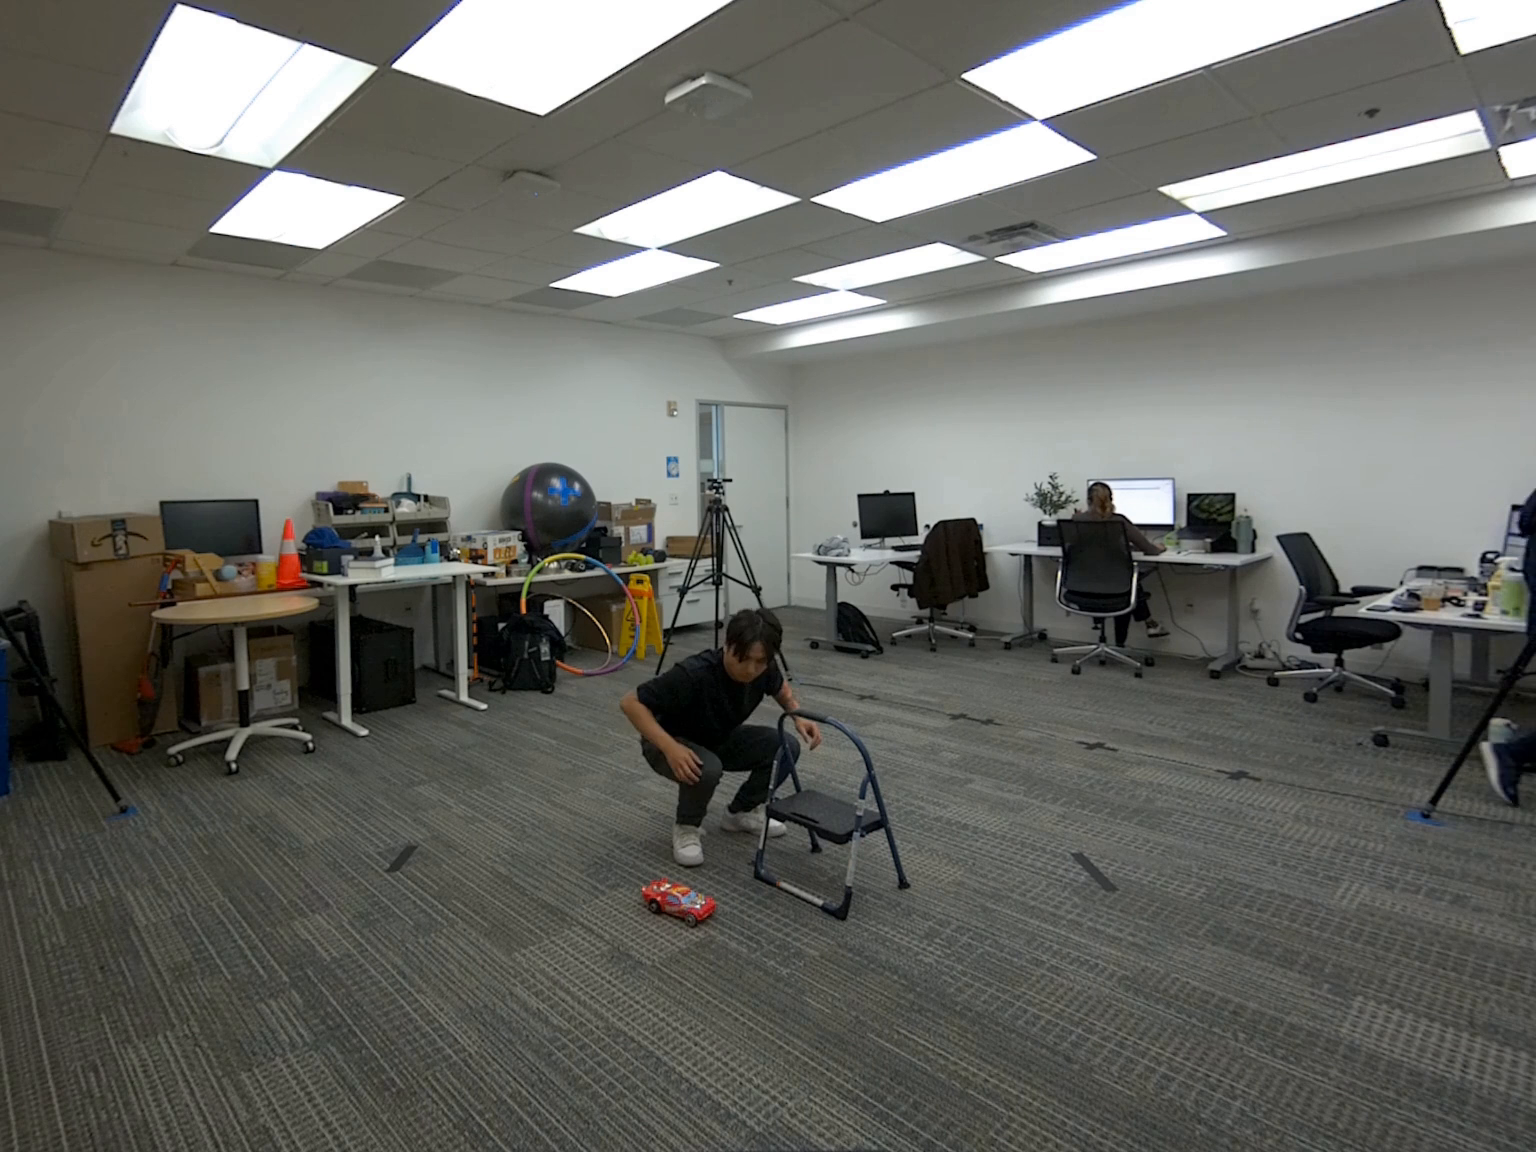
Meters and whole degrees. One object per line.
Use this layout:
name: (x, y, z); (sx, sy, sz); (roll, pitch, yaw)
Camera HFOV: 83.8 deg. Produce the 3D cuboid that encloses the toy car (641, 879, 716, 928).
toy car: (-0.284, 1.067, 2.776); (0.263, 0.082, 0.127); (16, 15, 32)
